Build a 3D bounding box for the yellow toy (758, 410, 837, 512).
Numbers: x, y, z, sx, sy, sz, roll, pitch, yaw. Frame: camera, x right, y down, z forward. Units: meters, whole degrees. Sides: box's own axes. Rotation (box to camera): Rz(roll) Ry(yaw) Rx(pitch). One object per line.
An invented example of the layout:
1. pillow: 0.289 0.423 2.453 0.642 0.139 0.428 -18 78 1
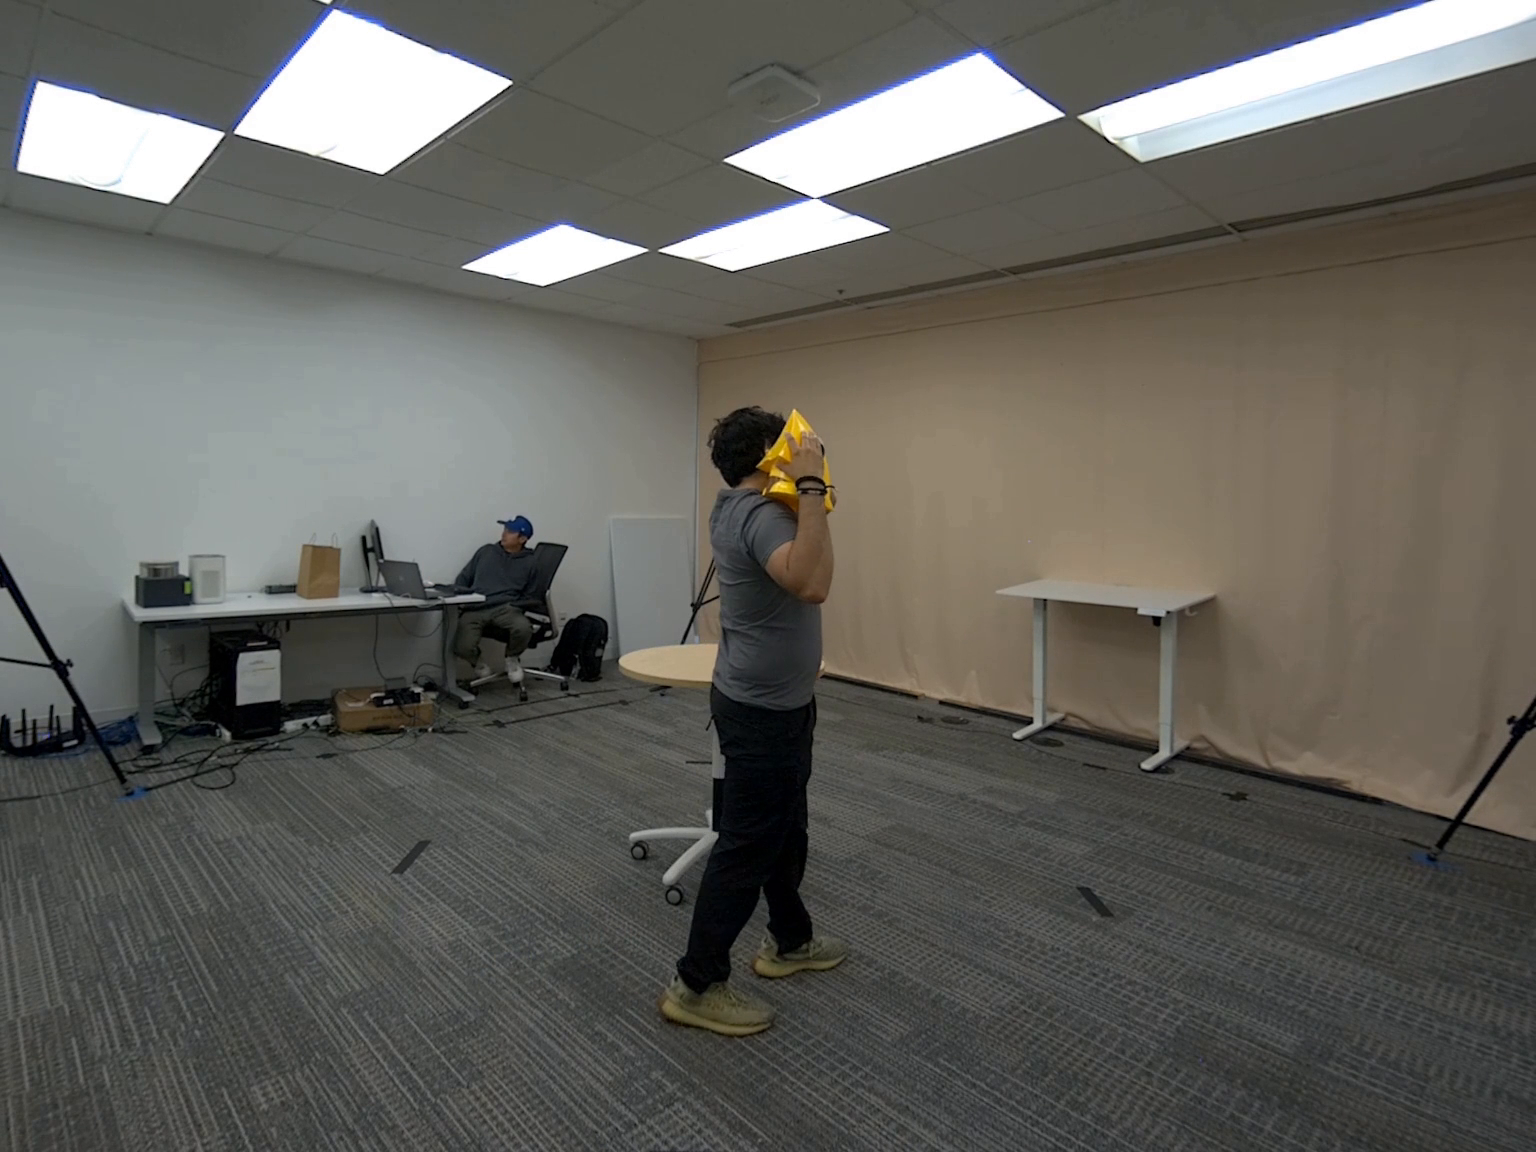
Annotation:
1. yellow toy: 0.079 -0.295 2.136 0.190 0.231 0.207 18 -6 -14
